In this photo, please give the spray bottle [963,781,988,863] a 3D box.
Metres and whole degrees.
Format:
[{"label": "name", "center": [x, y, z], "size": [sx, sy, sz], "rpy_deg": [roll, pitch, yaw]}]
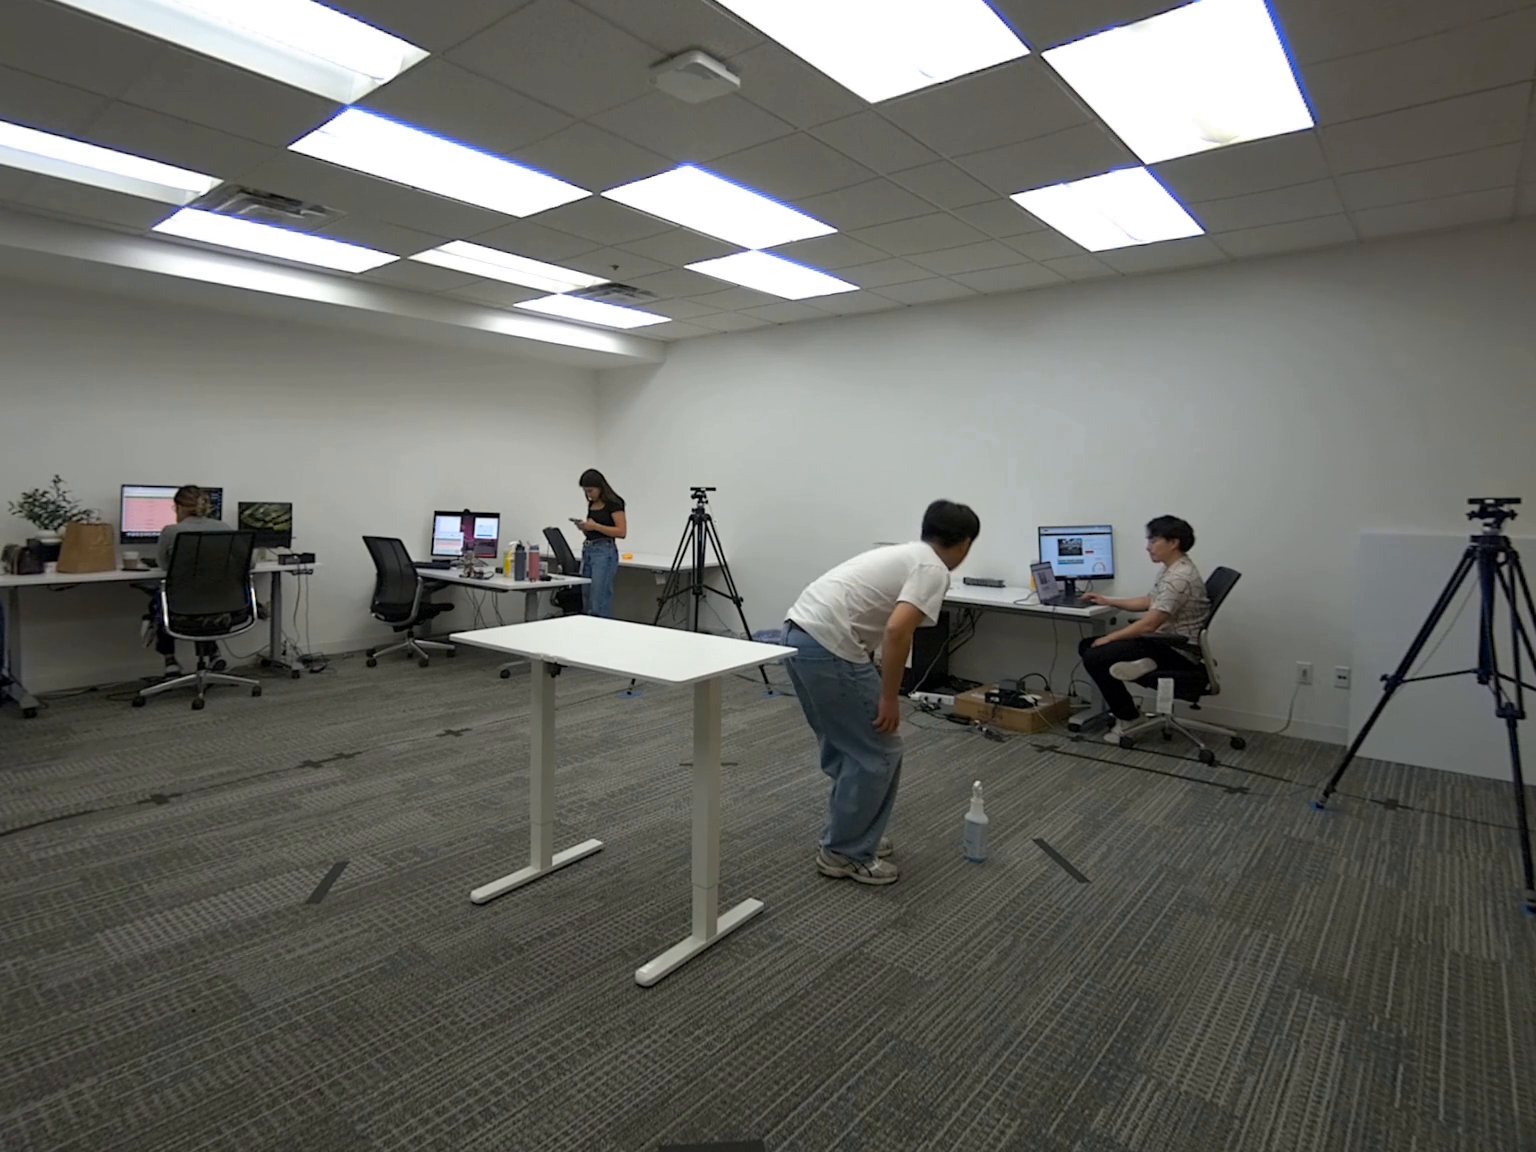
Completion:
[{"label": "spray bottle", "center": [0.793, 0.938, 3.250], "size": [0.087, 0.296, 0.090], "rpy_deg": [-3, 6, -40]}]
